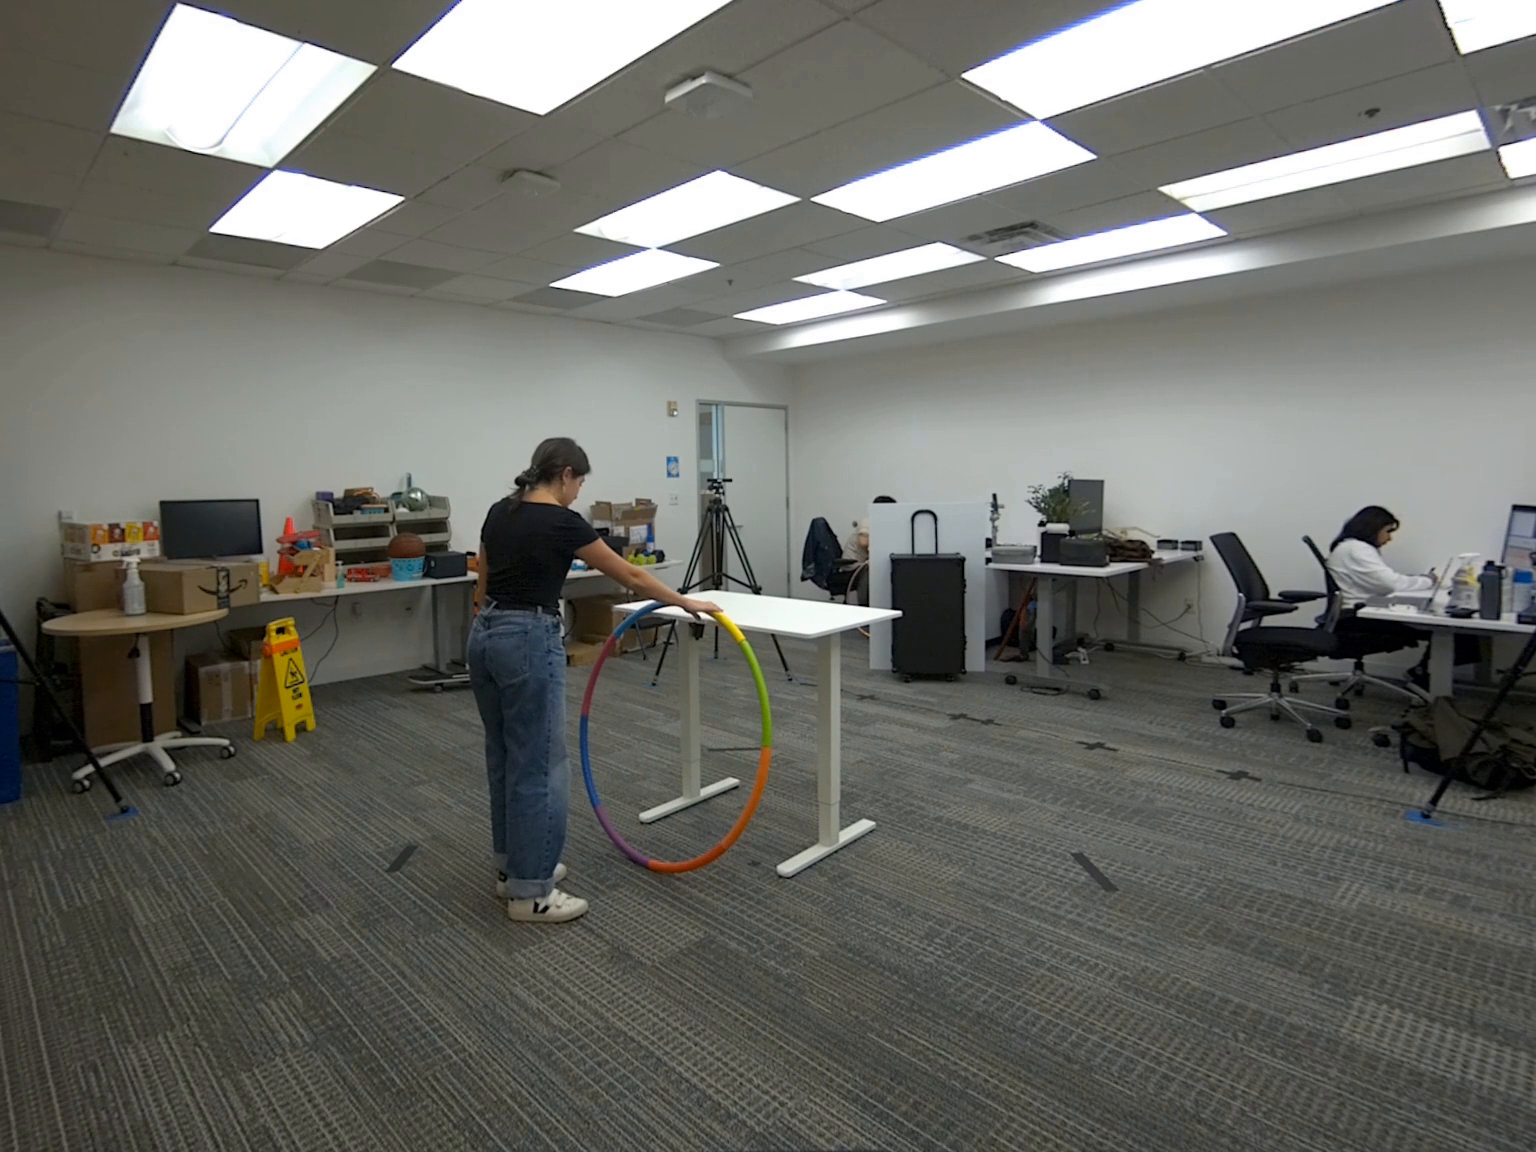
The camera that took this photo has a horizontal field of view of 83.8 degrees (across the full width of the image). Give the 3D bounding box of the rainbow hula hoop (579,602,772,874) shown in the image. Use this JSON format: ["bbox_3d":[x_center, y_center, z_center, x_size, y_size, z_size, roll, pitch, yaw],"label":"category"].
[{"bbox_3d":[-0.383,0.570,3.150,1.009,0.983,0.034,3,-8,42],"label":"rainbow hula hoop"}]
